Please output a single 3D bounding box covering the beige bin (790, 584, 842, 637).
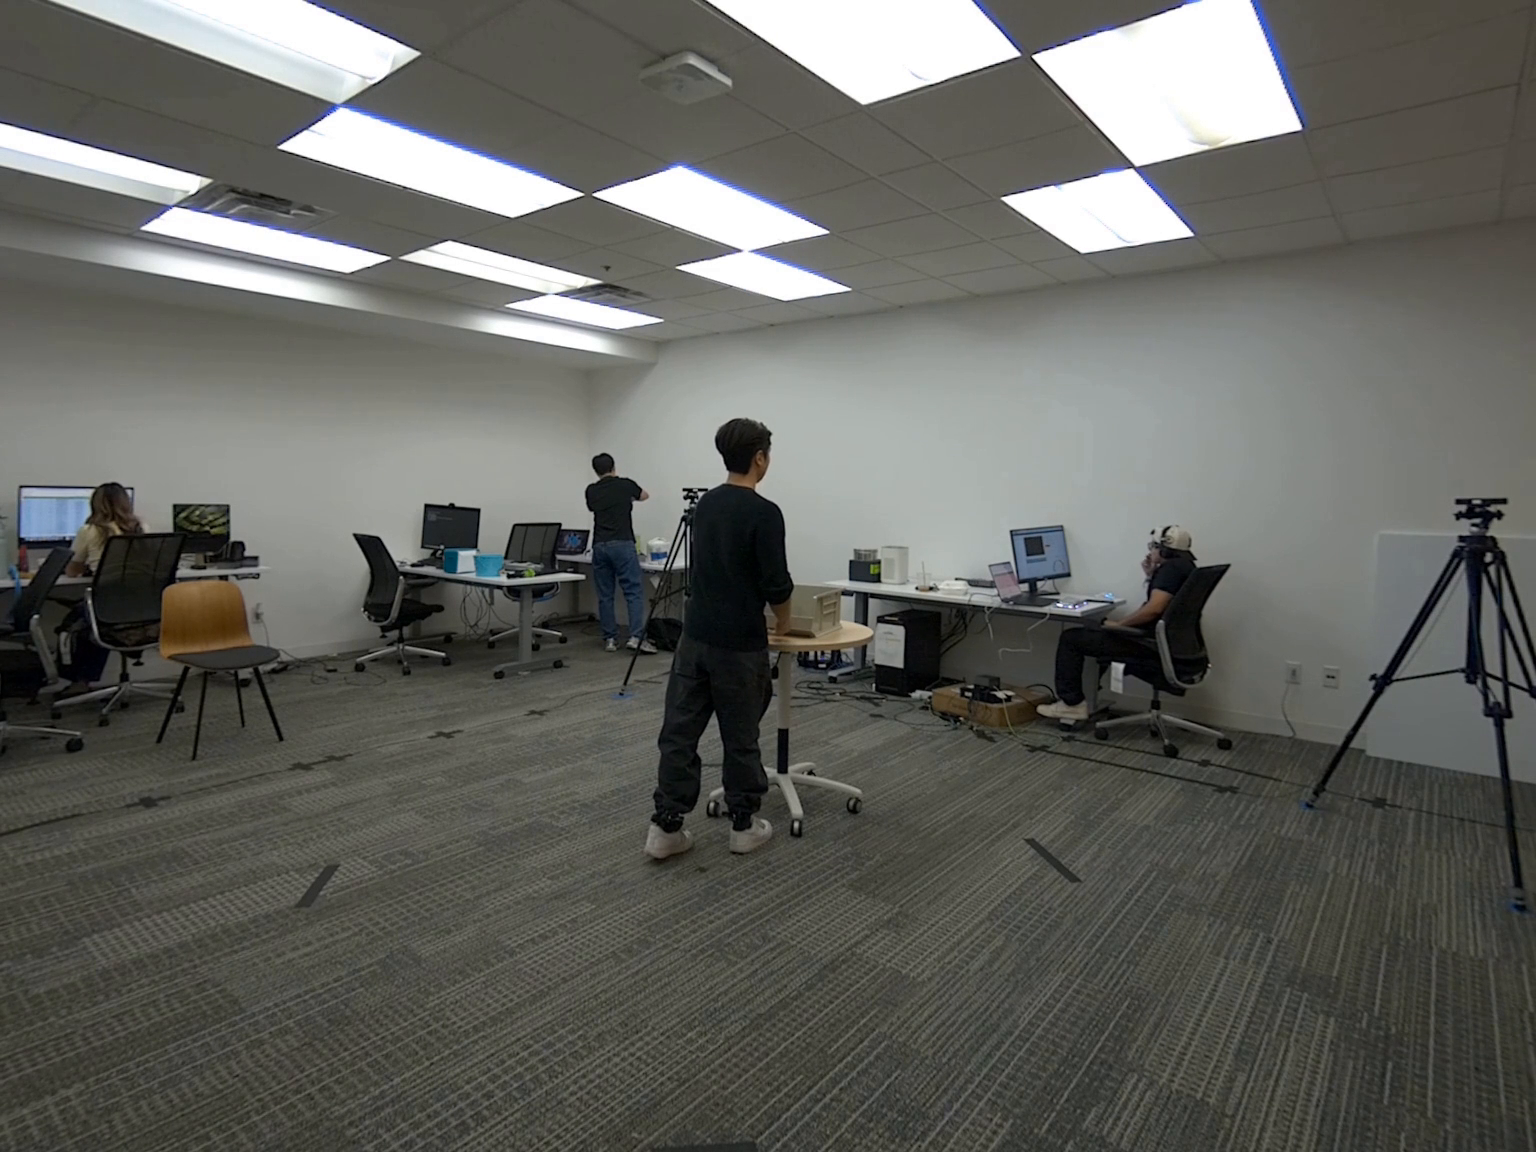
[{"bbox_3d":[0.070,0.145,3.739,0.434,0.188,0.368,3,5,27],"label":"beige bin"}]
